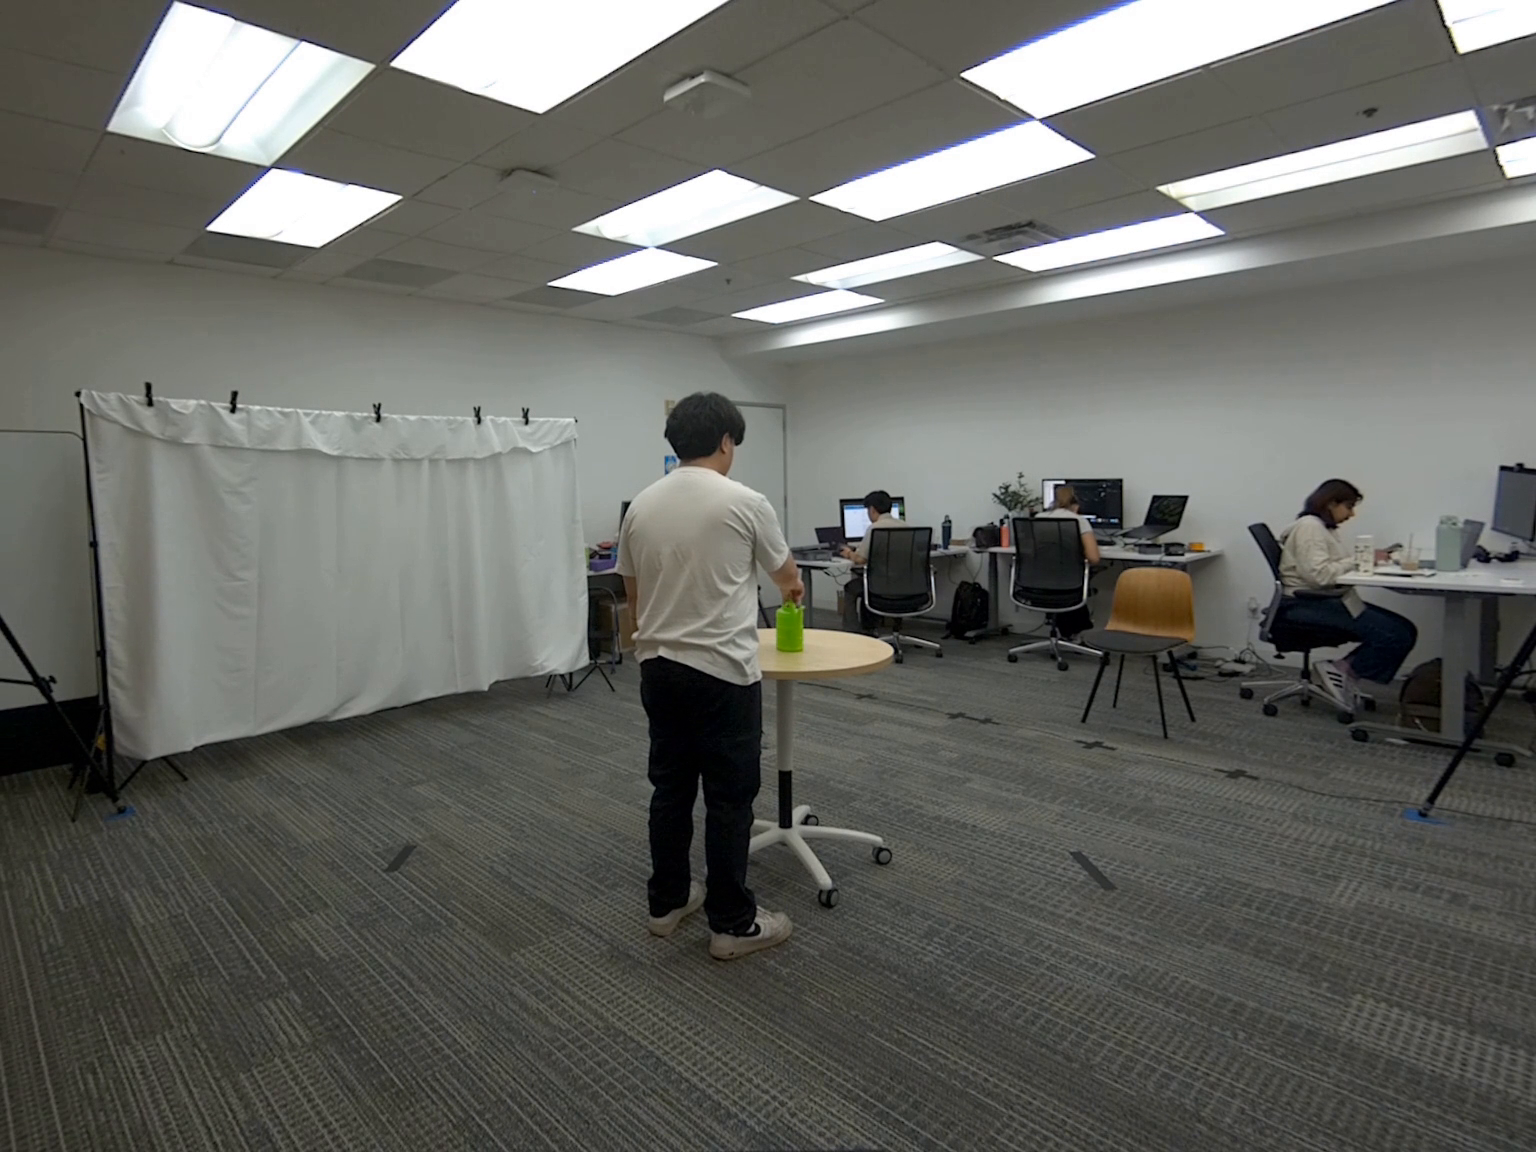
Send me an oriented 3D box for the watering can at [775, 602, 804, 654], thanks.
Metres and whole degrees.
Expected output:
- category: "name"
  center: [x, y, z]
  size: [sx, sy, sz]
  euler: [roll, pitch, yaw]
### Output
- category: "watering can"
  center: [0.076, 0.179, 2.973]
  size: [0.098, 0.176, 0.278]
  euler: [-1, 4, 2]
